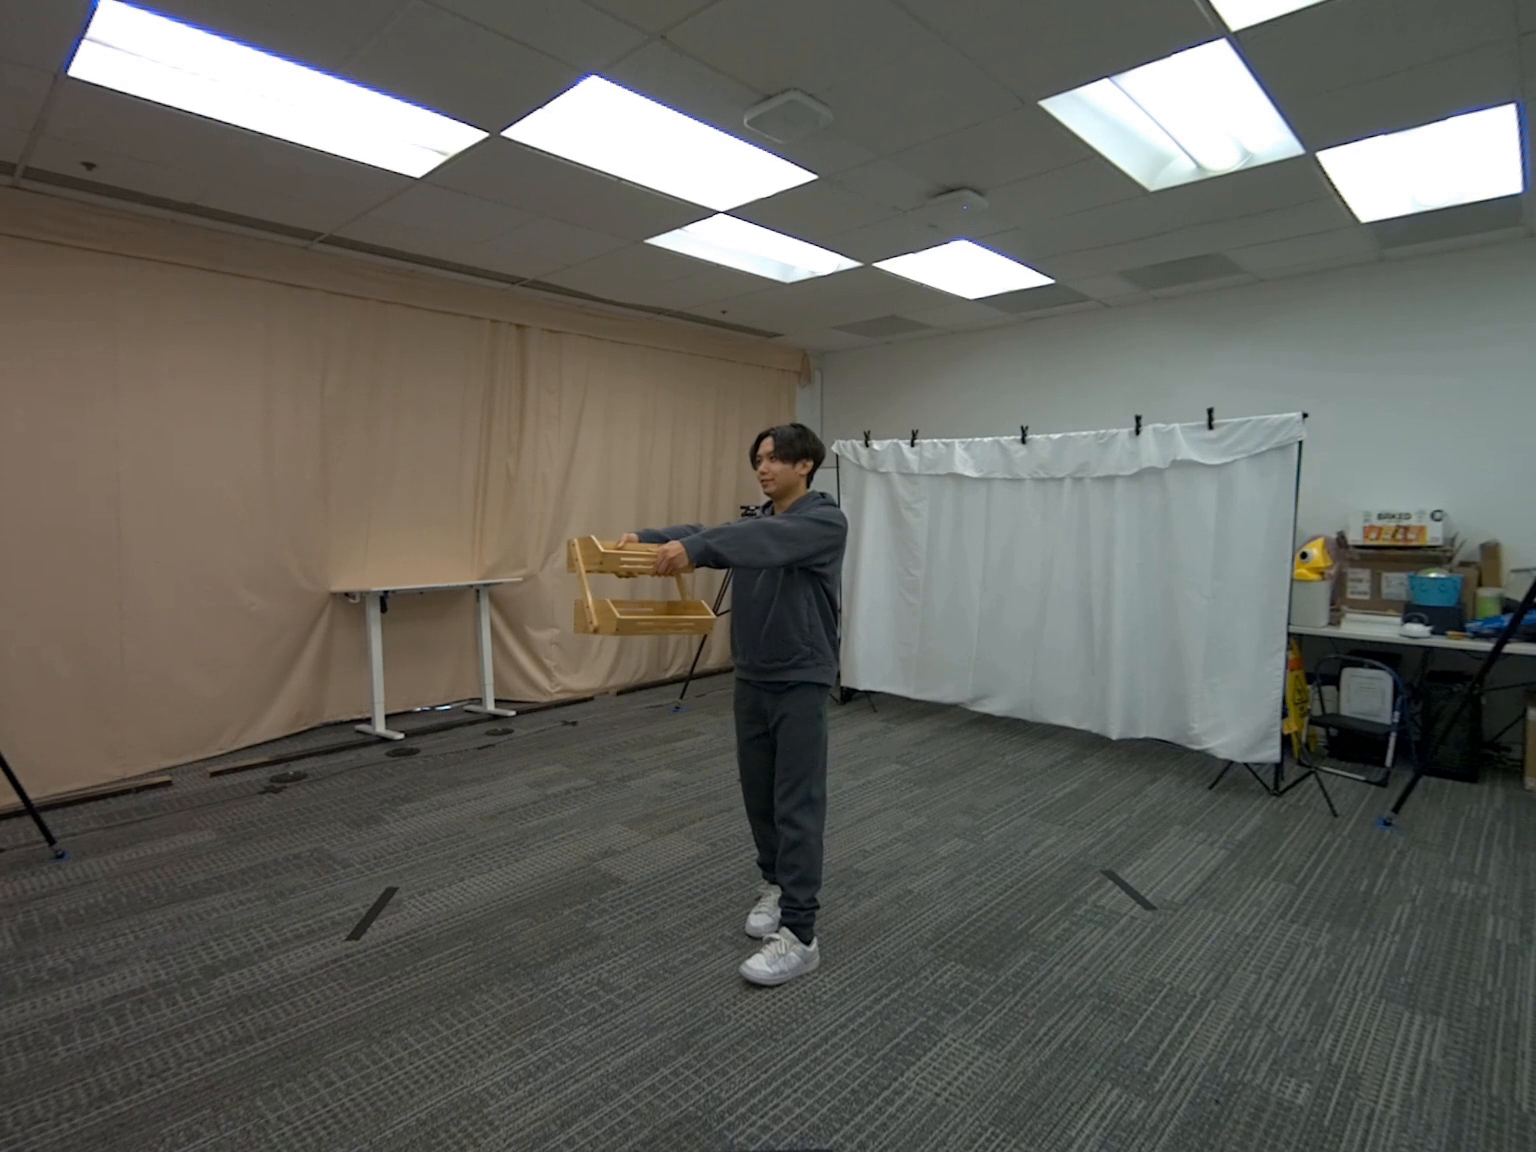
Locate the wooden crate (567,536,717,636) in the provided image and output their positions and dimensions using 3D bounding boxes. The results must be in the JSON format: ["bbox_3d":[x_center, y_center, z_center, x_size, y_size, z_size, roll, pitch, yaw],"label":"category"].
[{"bbox_3d":[-0.340,0.025,2.305,0.314,0.274,0.311,4,-5,-38],"label":"wooden crate"}]
